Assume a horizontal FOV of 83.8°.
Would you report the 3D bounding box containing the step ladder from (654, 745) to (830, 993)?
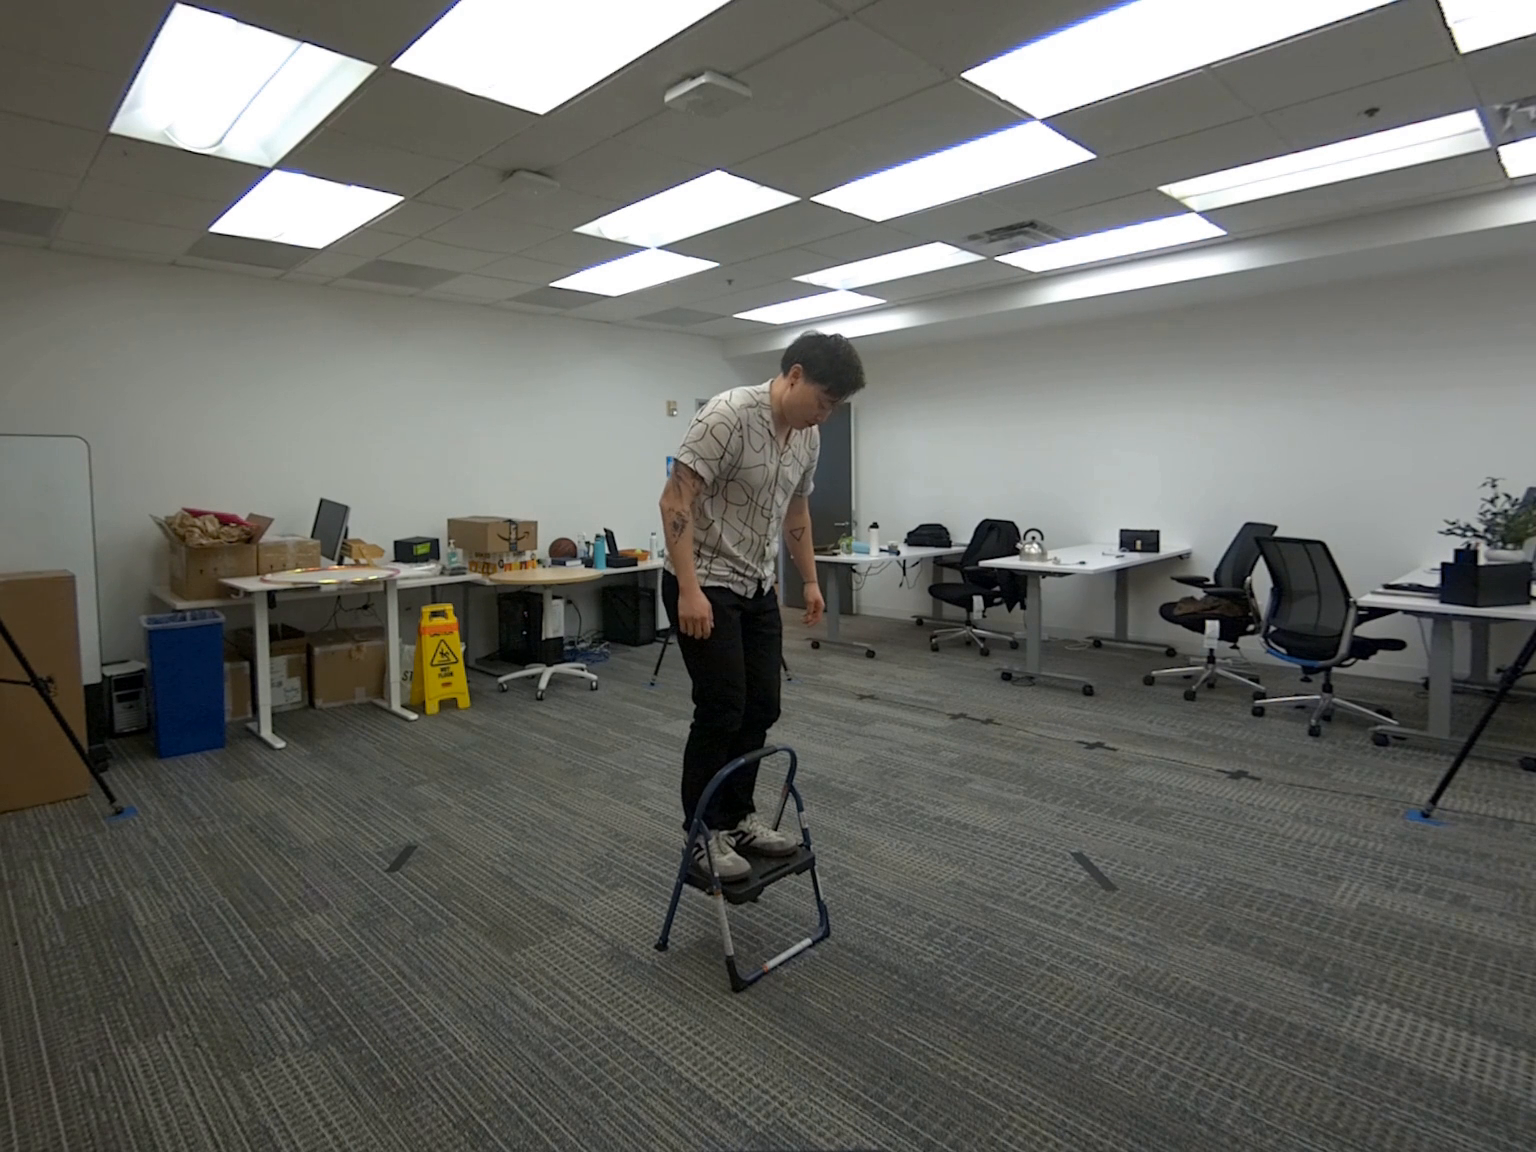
[{"bbox_3d":[-0.071,0.804,2.565,0.360,0.603,0.419,4,7,43],"label":"step ladder"}]
